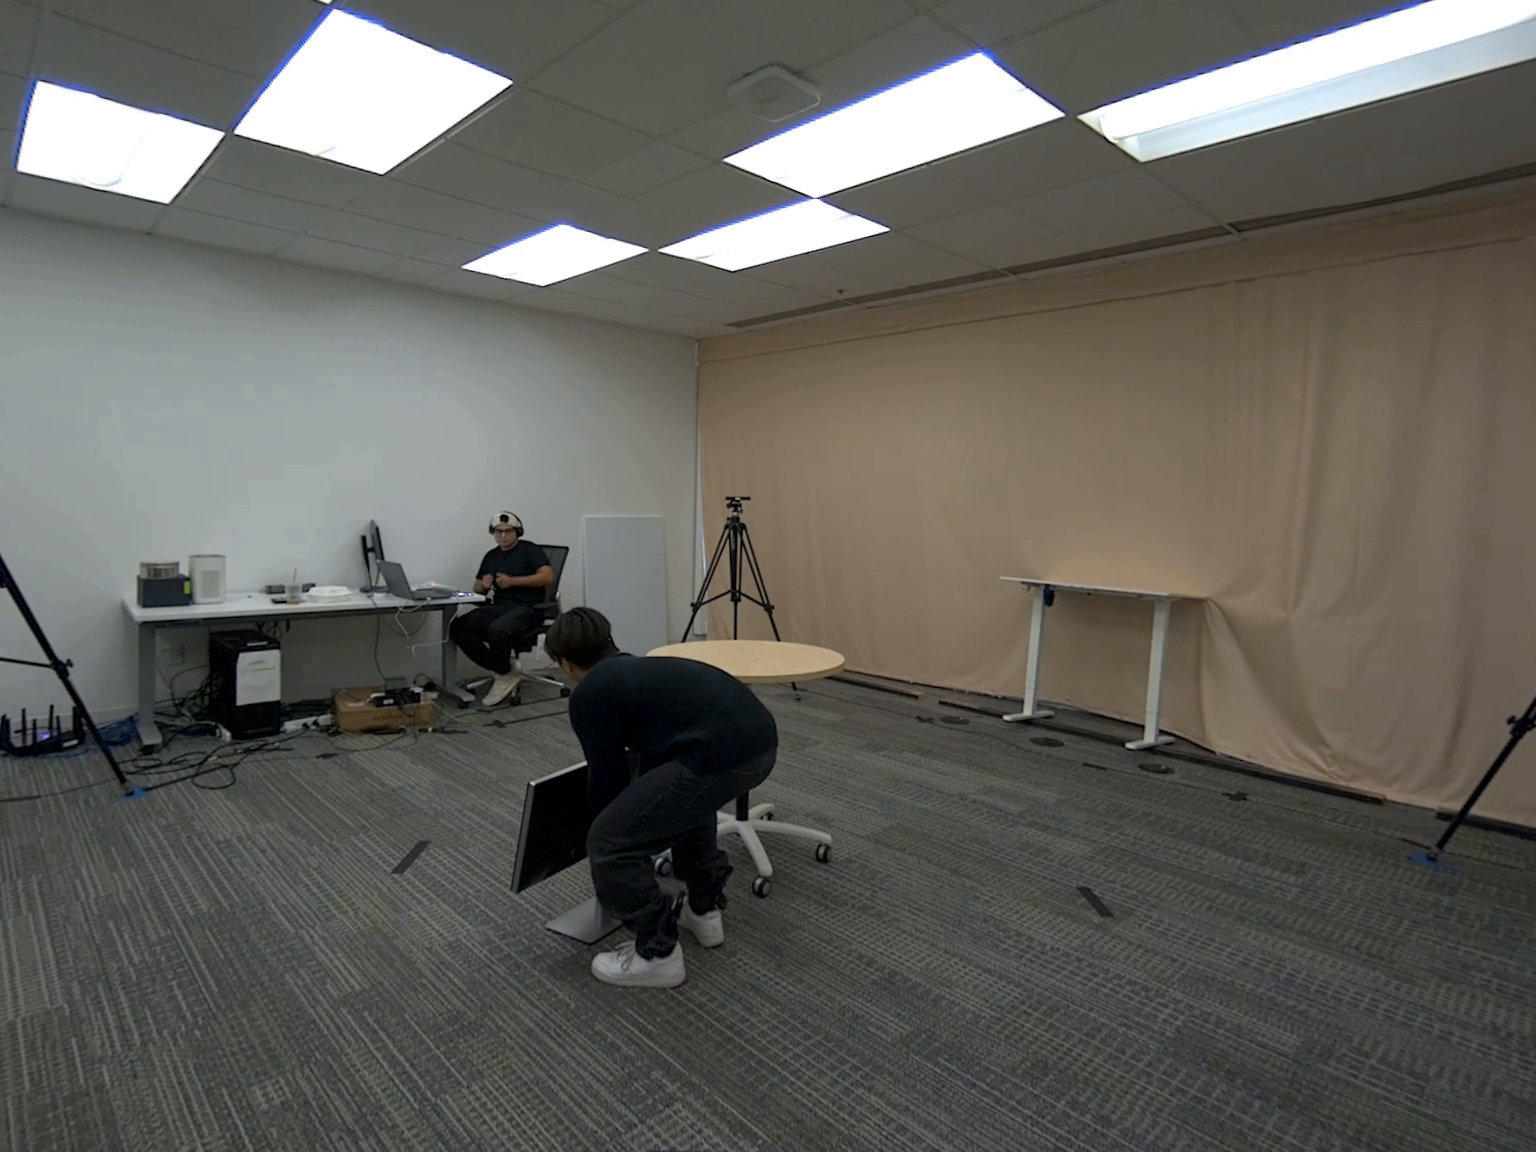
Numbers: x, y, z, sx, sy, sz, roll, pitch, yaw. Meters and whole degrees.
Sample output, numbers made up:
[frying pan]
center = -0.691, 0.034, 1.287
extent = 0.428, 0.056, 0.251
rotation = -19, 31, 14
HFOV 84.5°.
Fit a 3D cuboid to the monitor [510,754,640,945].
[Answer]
[monitor]
center = -0.566, 0.861, 2.731
extent = 0.191, 0.521, 0.528
rotation = 2, 4, 32
